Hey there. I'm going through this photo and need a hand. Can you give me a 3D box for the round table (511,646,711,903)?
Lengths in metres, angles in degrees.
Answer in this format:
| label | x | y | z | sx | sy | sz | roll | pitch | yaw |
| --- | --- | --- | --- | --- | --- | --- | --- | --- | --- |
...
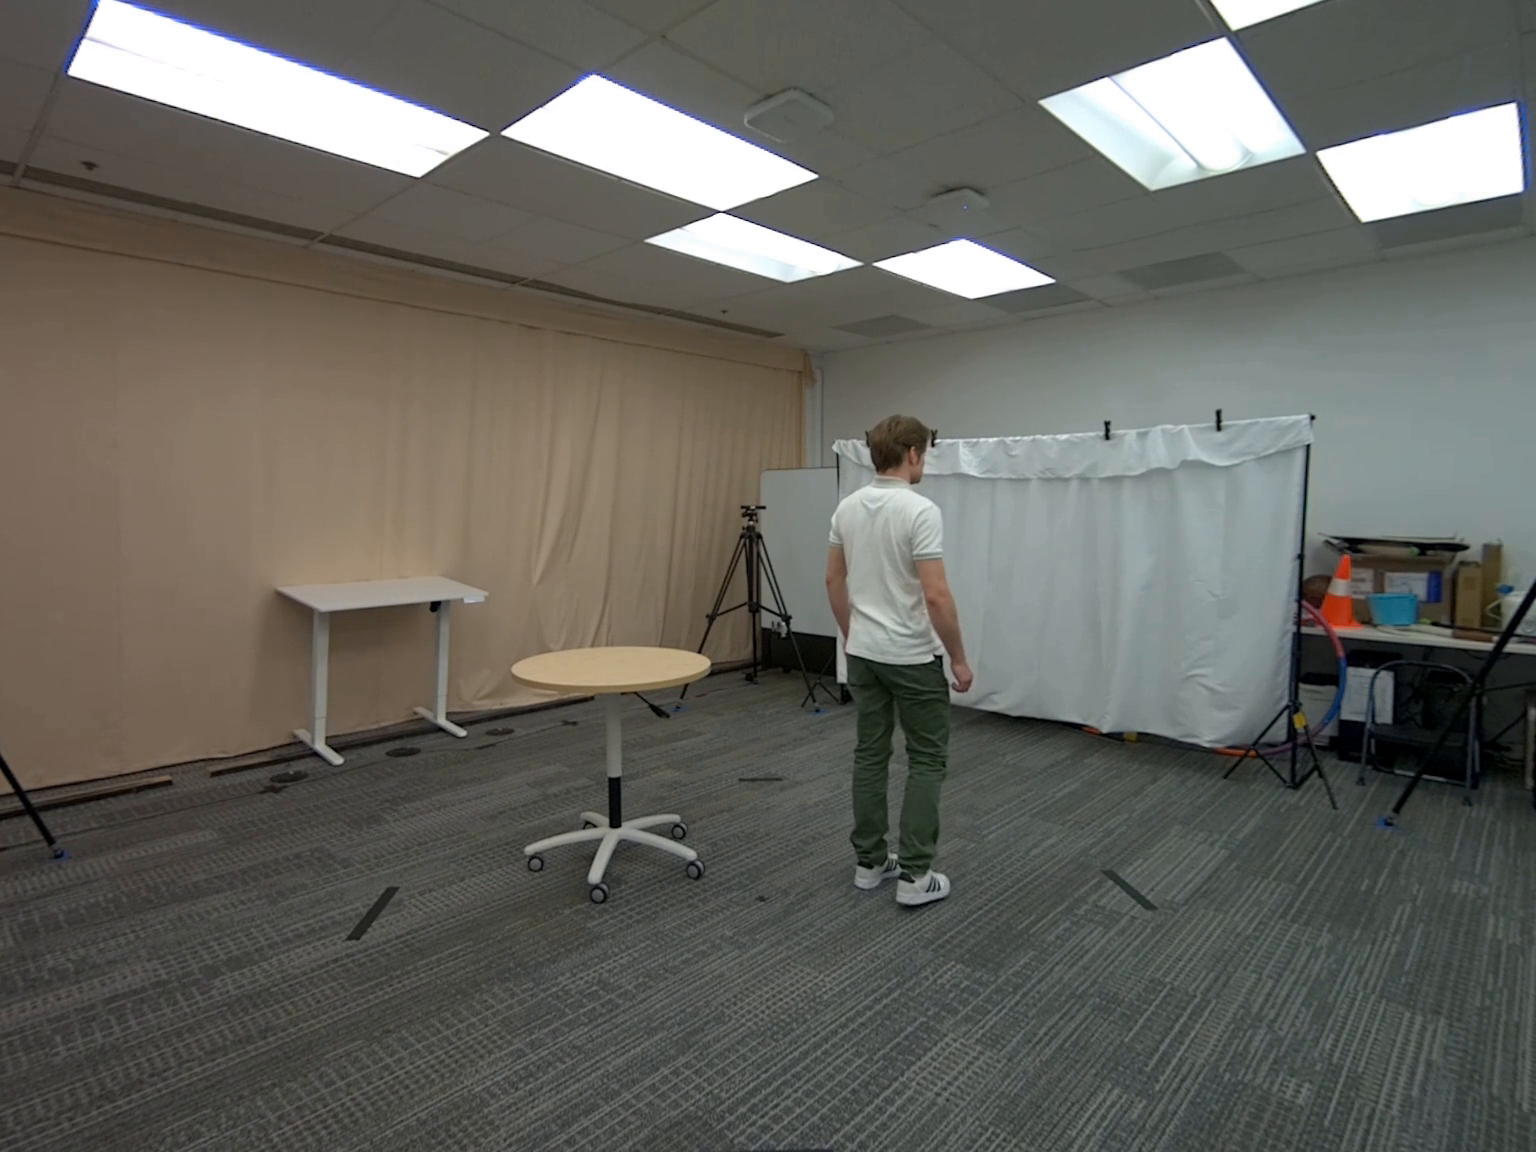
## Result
| label | x | y | z | sx | sy | sz | roll | pitch | yaw |
| --- | --- | --- | --- | --- | --- | --- | --- | --- | --- |
| round table | -0.596 | 0.738 | 3.295 | 0.763 | 0.792 | 0.766 | -1 | 4 | -2 |
